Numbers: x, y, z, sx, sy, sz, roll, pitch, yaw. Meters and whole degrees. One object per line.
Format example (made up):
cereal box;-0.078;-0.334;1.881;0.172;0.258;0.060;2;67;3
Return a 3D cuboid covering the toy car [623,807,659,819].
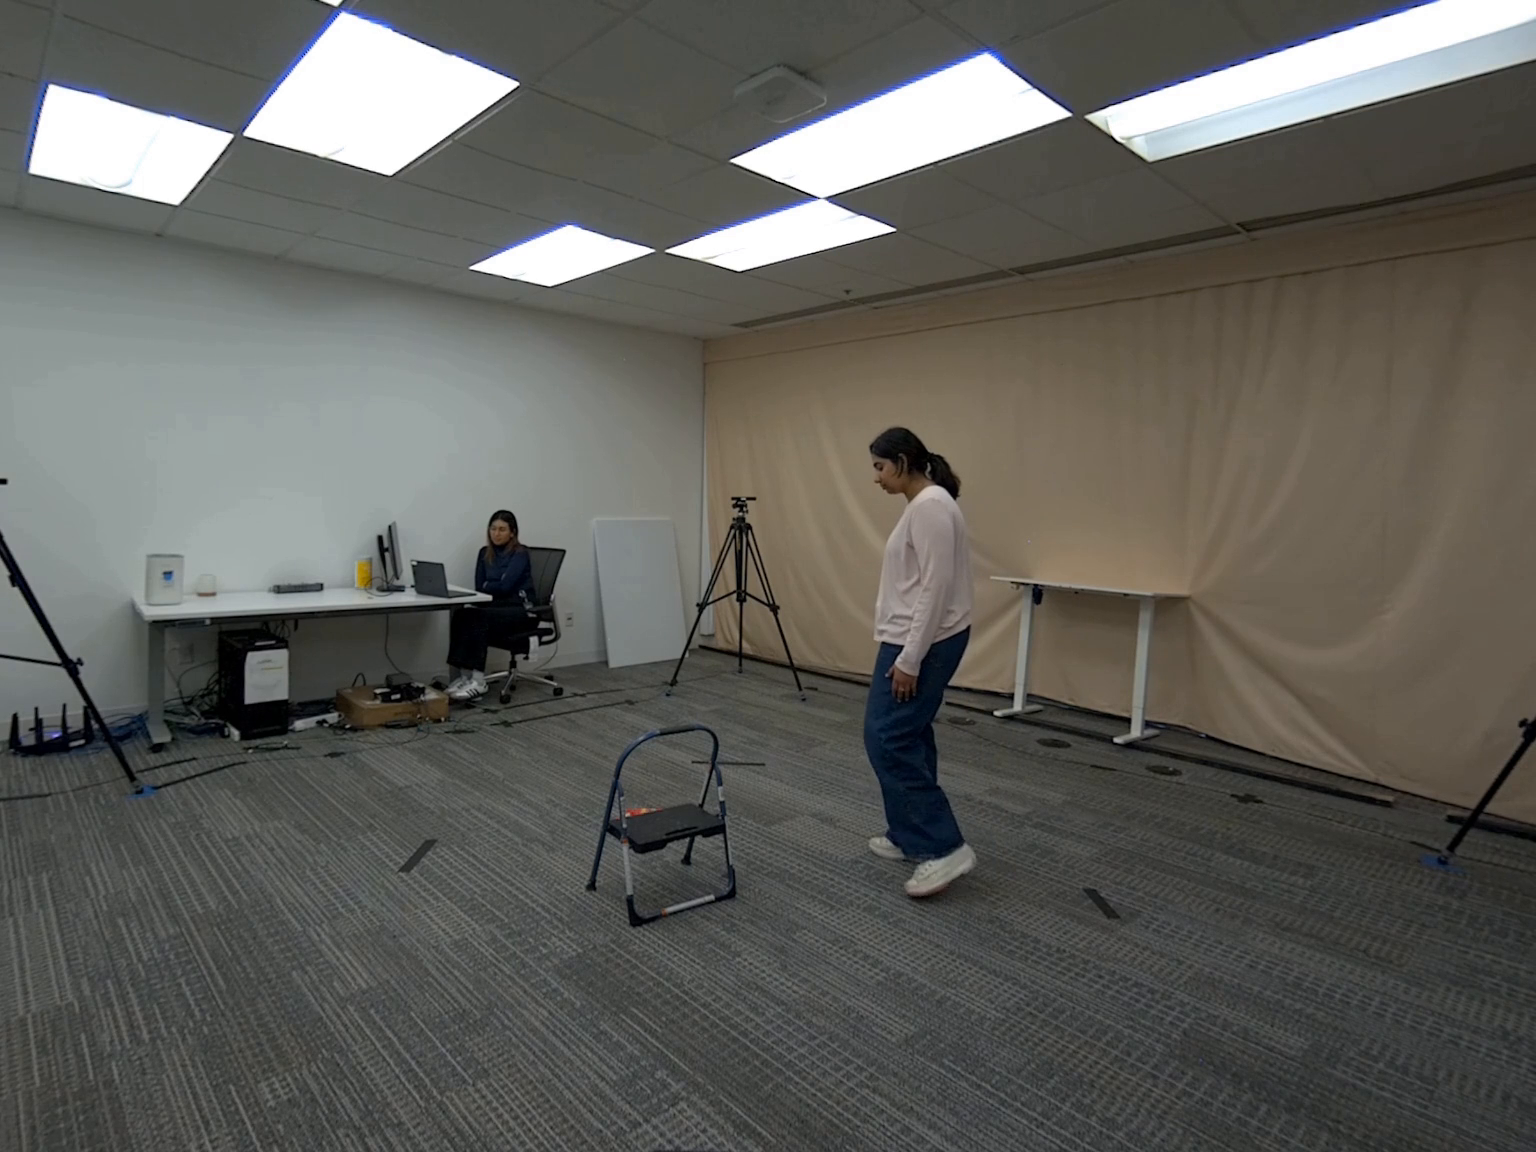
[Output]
toy car;-0.527;1.021;3.539;0.248;0.083;0.133;12;-5;-39
